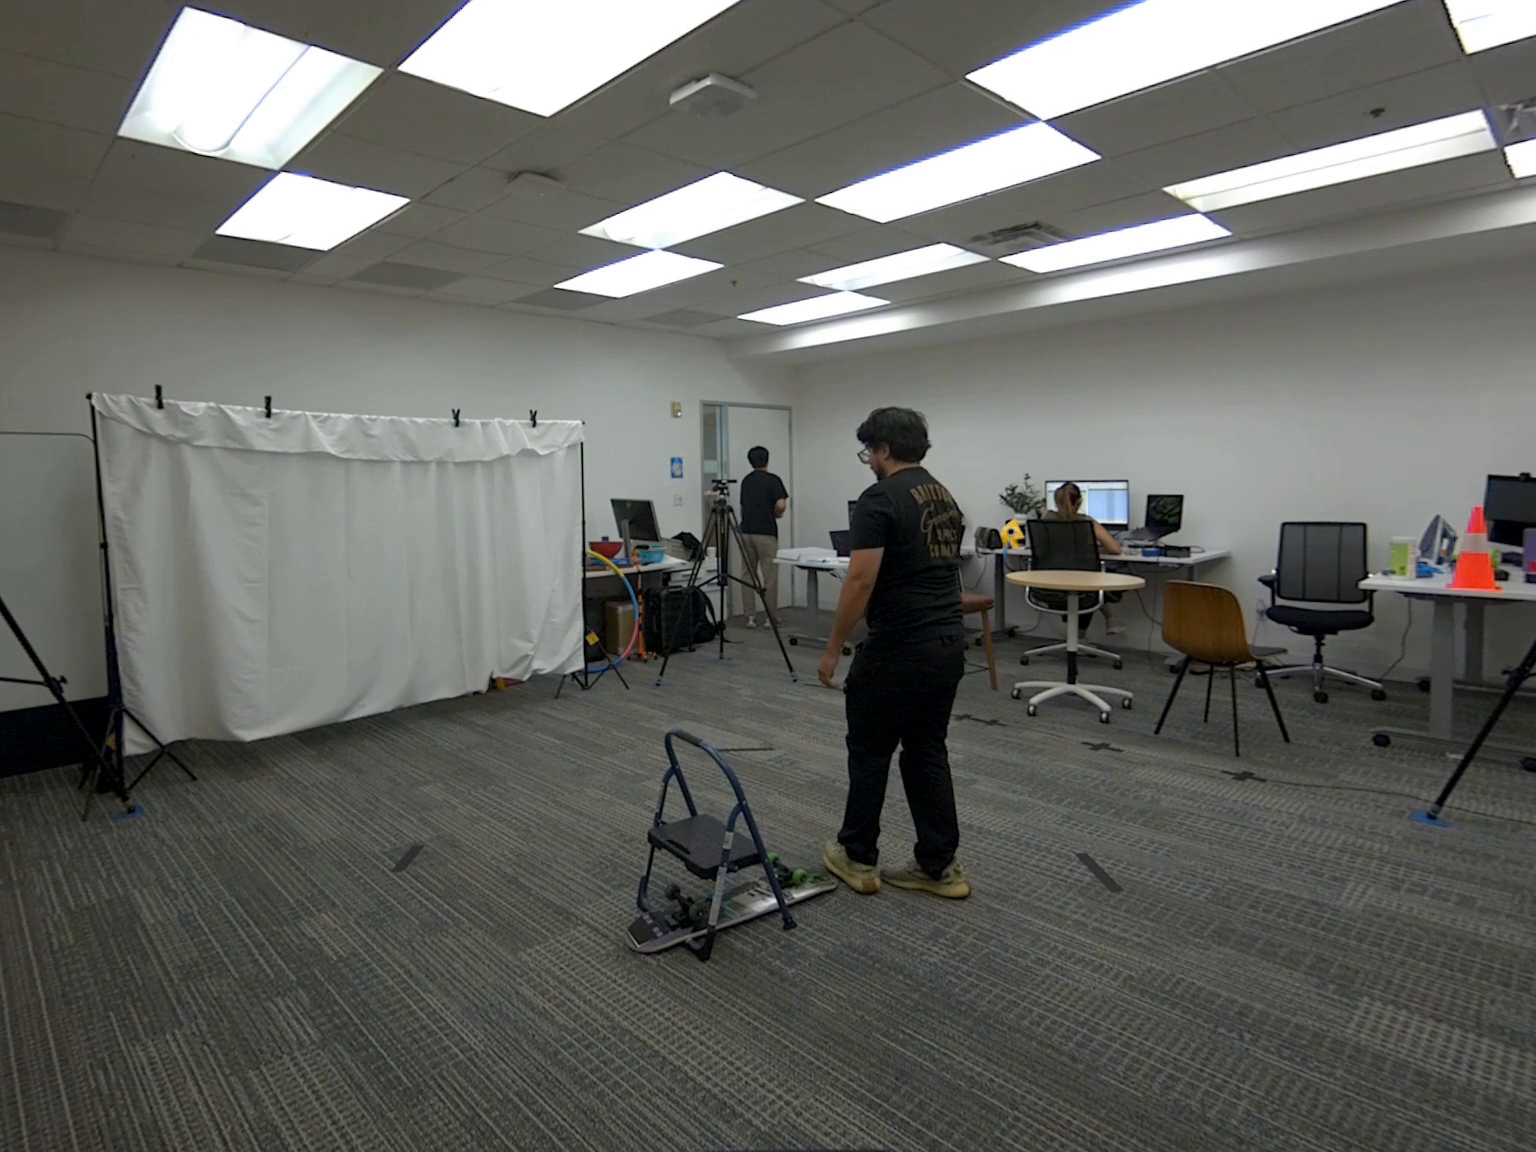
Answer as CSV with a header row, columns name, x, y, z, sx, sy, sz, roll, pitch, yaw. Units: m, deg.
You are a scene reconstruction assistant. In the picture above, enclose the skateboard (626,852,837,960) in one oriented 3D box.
name,x,y,z,sx,sy,sz,roll,pitch,yaw
skateboard,-0.085,1.039,2.763,0.766,0.110,0.199,-5,6,-35
